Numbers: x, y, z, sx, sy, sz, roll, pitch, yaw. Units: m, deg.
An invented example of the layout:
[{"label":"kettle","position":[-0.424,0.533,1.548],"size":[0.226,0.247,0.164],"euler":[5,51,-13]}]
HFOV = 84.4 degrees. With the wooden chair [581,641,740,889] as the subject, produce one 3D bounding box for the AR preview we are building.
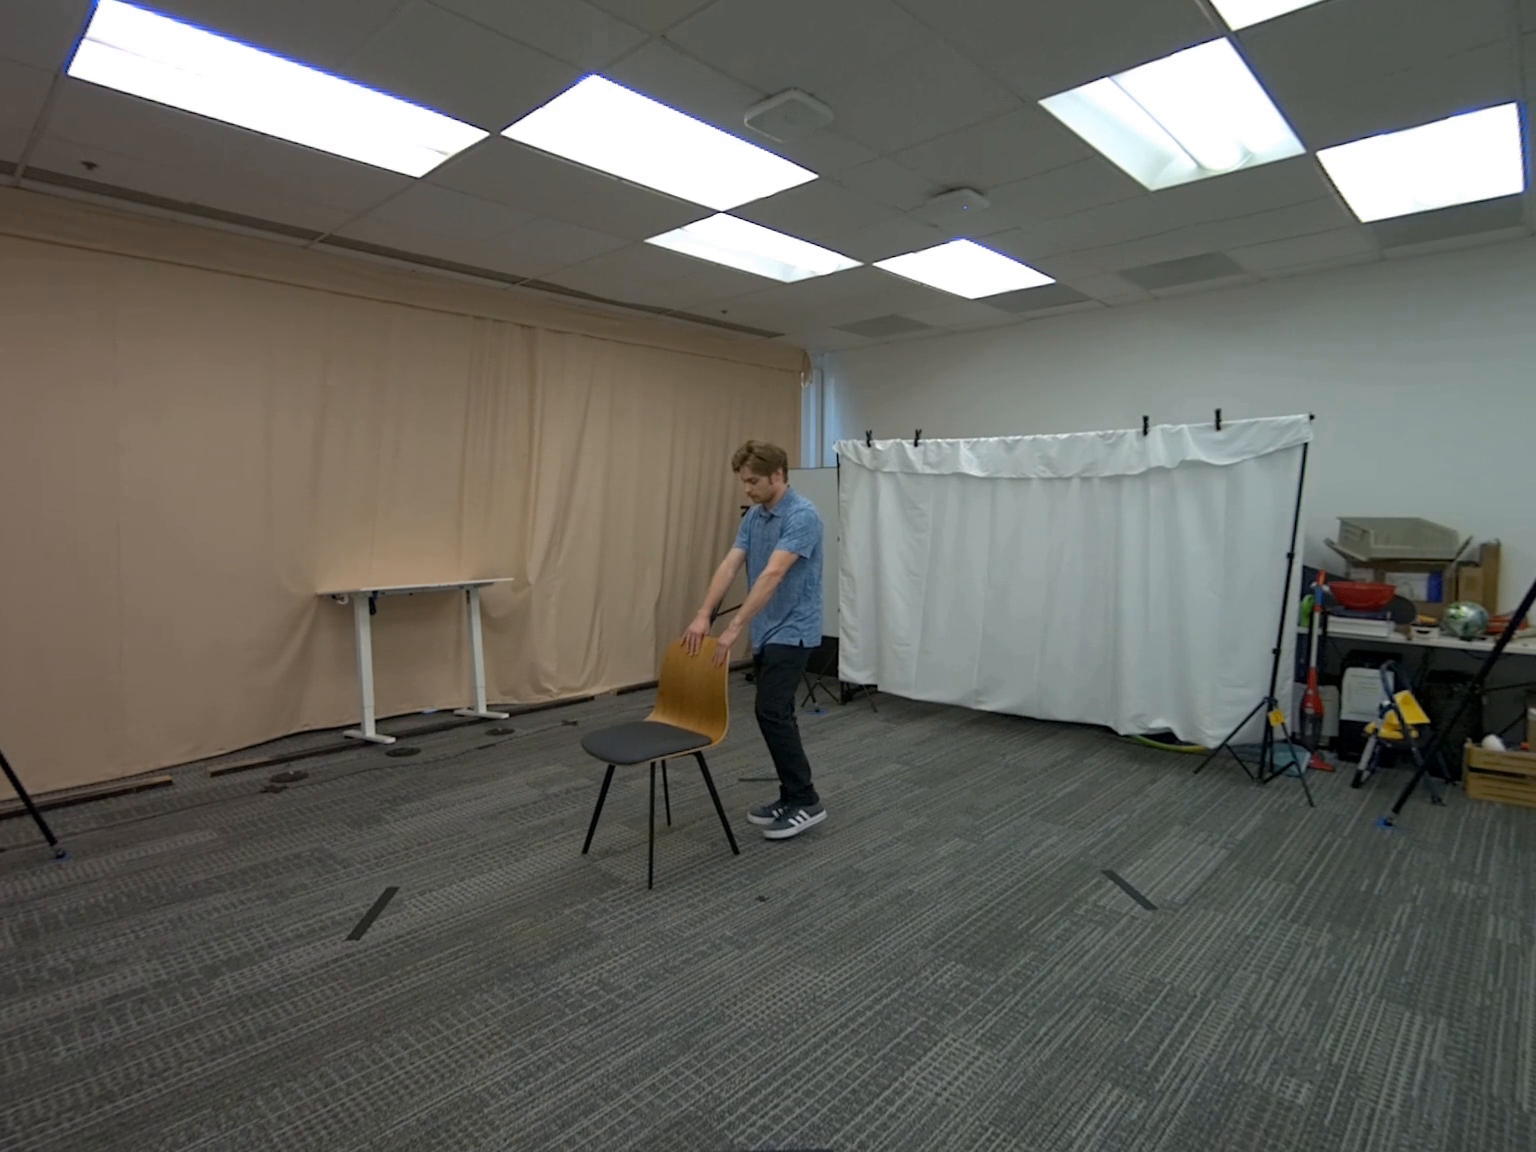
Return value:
[{"label":"wooden chair","position":[-0.437,0.688,3.335],"size":[0.506,0.877,0.494],"euler":[3,0,-44]}]
